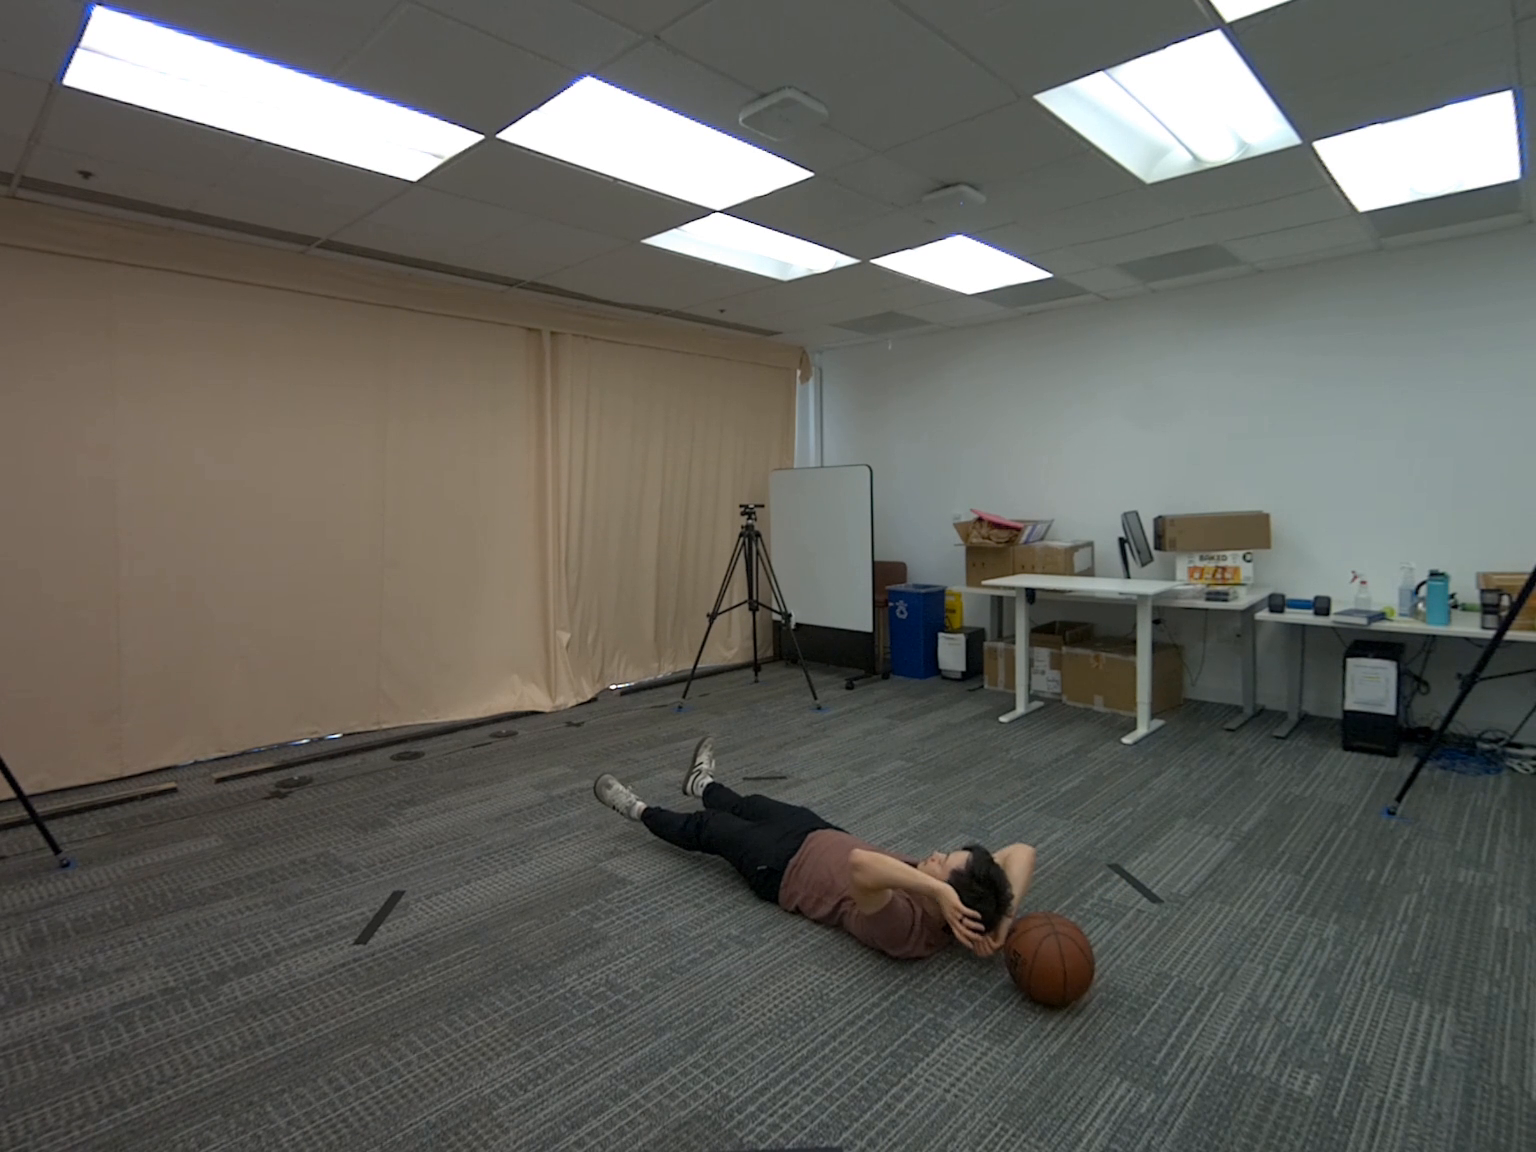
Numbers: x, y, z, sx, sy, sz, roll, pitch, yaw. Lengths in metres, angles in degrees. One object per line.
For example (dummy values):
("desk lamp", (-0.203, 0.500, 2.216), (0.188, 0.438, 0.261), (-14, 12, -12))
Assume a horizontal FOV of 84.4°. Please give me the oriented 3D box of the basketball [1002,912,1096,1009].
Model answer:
("basketball", (0.776, 1.058, 2.349), (0.236, 0.235, 0.236), (-1, 3, -2))
